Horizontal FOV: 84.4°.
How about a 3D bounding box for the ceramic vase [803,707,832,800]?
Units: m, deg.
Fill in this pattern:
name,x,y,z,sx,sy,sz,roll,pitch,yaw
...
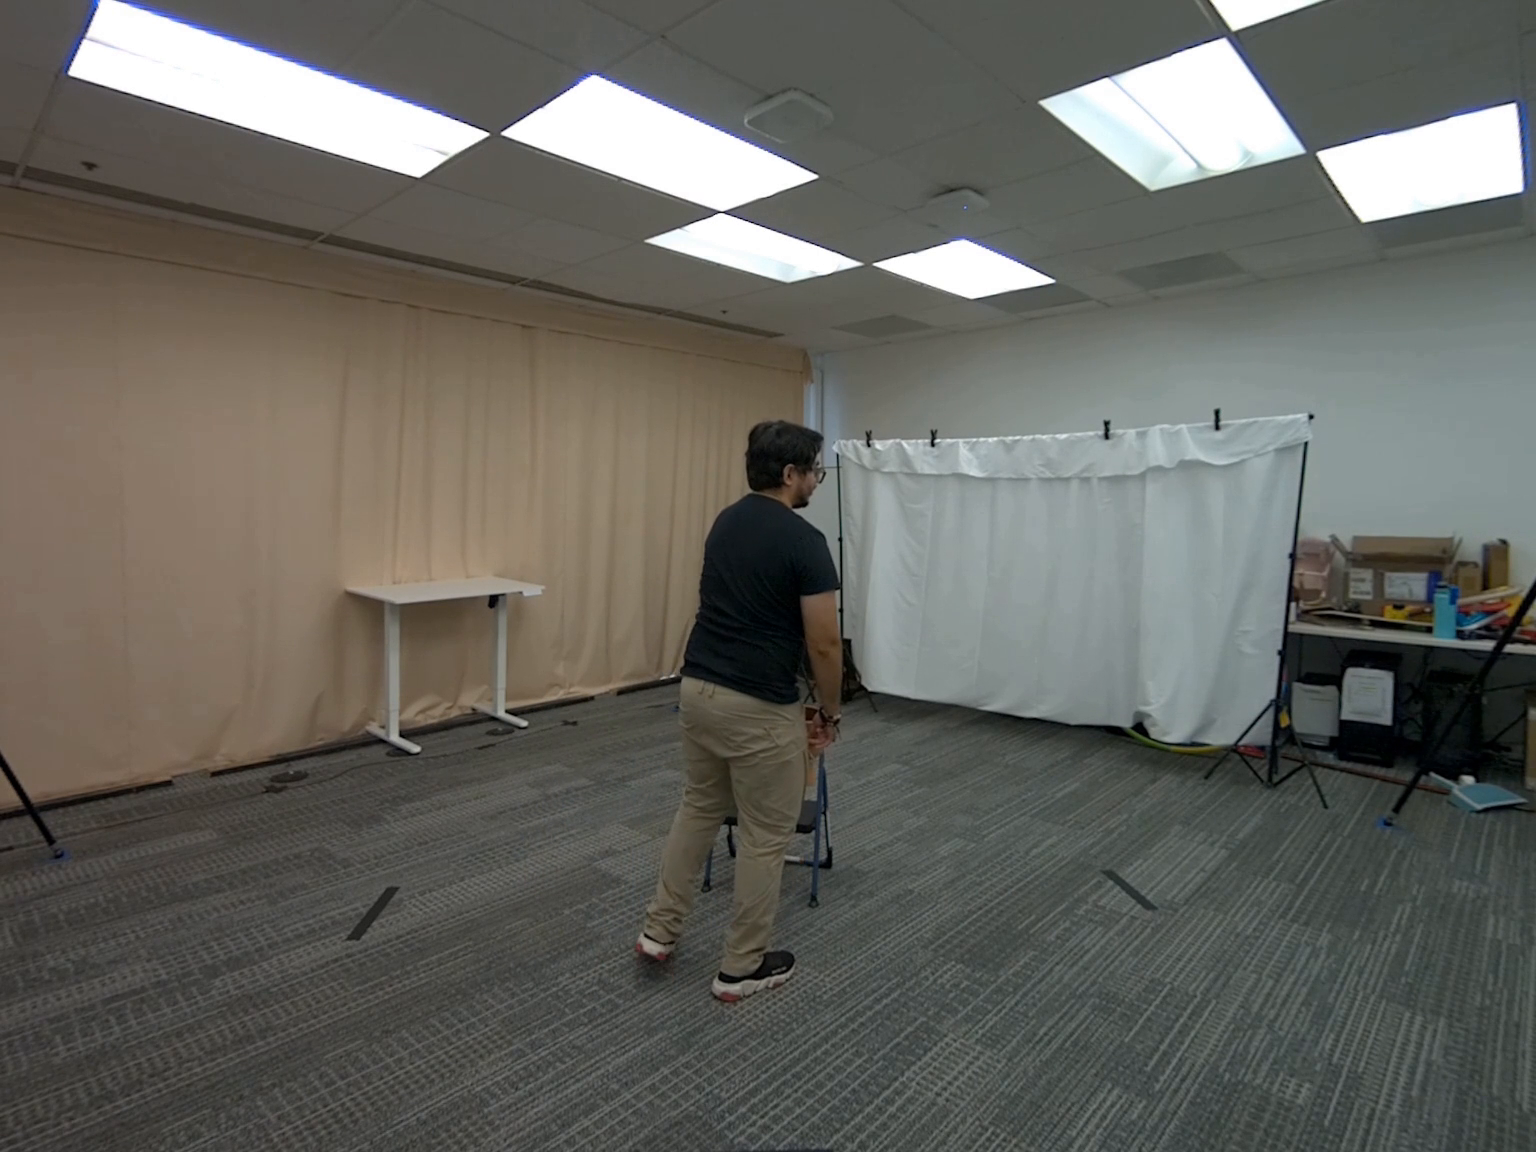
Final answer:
name,x,y,z,sx,sy,sz,roll,pitch,yaw
ceramic vase,0.111,0.536,2.592,0.136,0.218,0.157,5,11,11
